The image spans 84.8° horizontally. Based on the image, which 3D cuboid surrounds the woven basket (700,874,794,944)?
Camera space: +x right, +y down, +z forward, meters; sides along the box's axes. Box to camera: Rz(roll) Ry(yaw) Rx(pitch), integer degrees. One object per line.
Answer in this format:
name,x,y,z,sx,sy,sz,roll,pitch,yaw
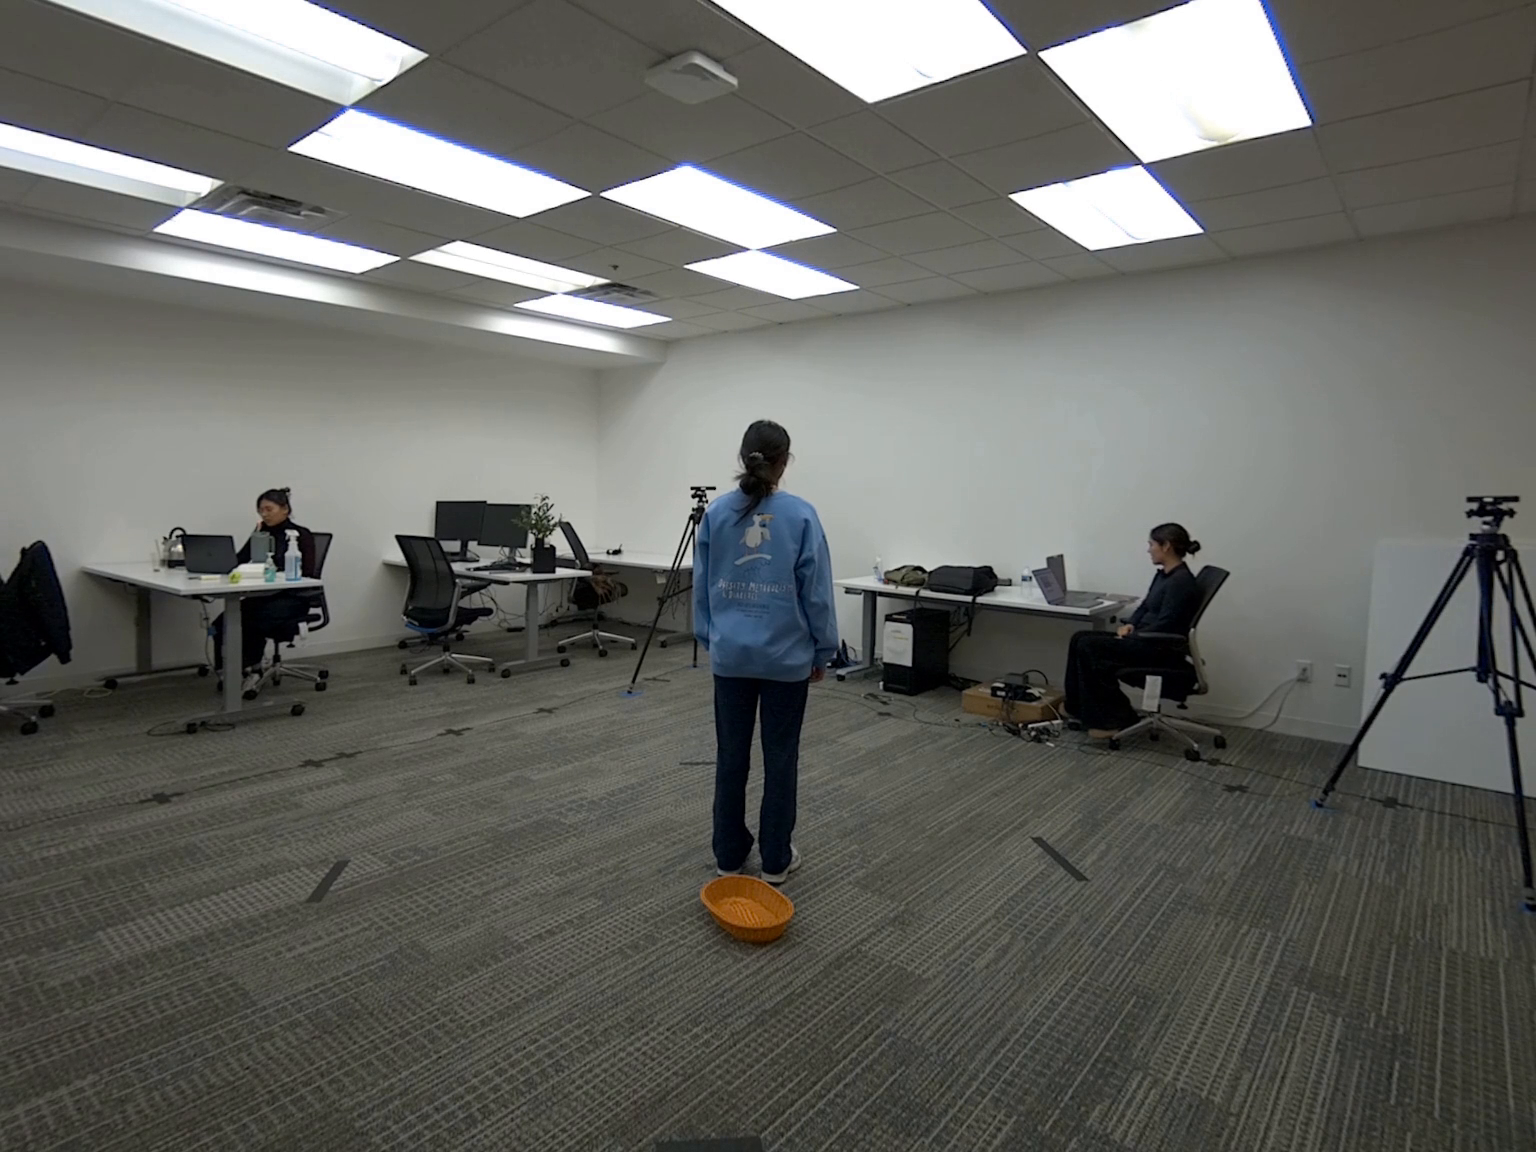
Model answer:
woven basket,-0.077,1.067,2.730,0.246,0.073,0.361,-3,7,-31
